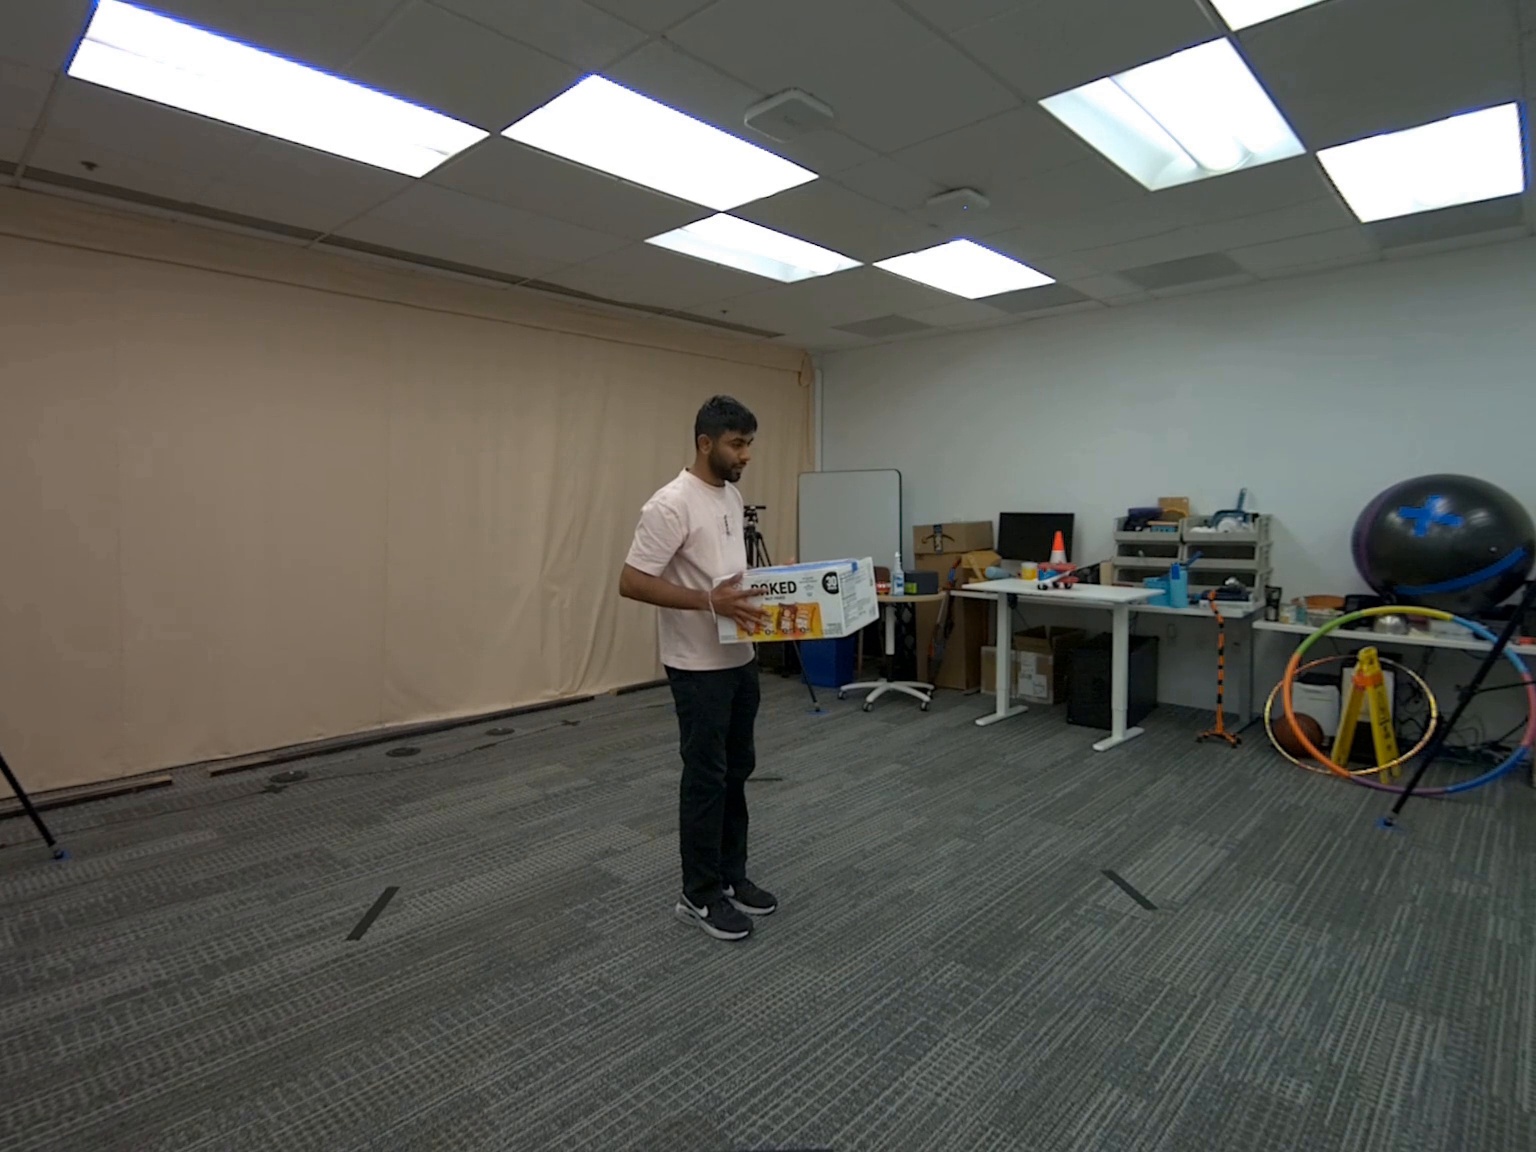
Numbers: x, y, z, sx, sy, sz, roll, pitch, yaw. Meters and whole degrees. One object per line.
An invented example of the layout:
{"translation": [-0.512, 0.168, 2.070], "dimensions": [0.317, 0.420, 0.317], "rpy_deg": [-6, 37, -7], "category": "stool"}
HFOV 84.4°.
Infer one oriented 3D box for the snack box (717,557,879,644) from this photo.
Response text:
{"translation": [0.098, 0.075, 2.635], "dimensions": [0.415, 0.205, 0.333], "rpy_deg": [-5, 4, 26], "category": "snack box"}
